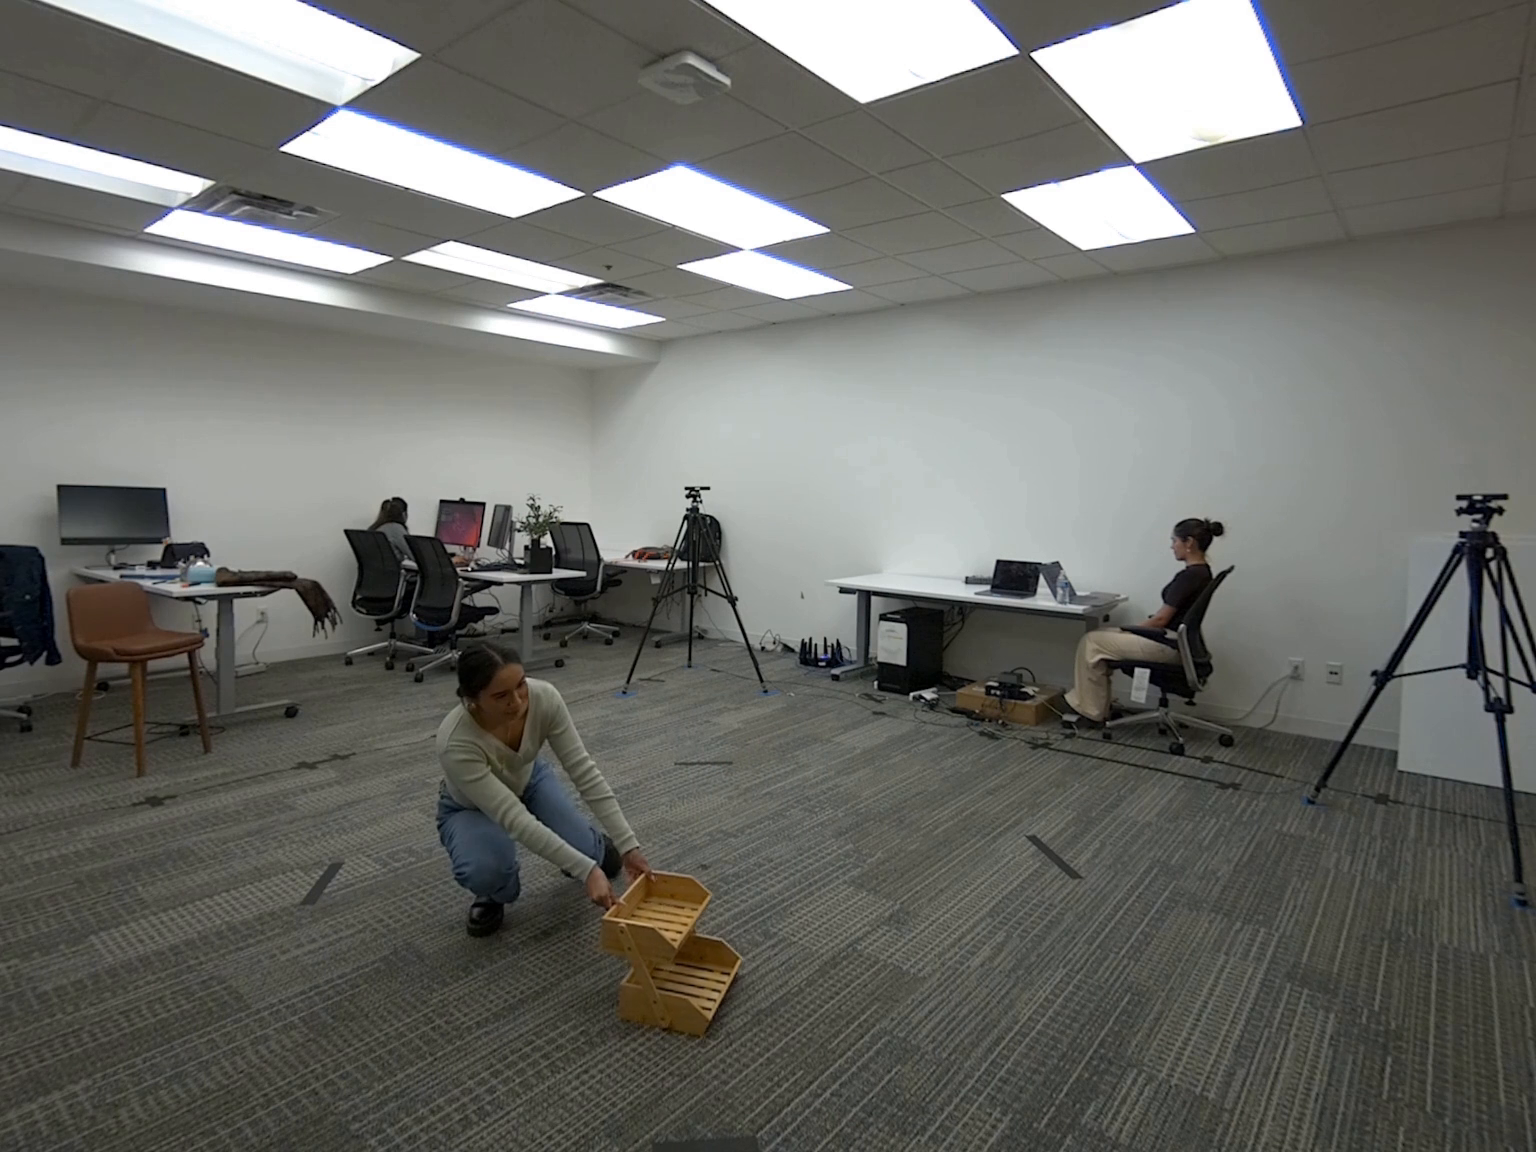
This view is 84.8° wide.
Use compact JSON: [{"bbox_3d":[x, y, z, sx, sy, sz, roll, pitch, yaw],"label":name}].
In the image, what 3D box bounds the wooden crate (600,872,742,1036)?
[{"bbox_3d":[-0.260,1.011,2.322,0.308,0.272,0.319,1,4,17],"label":"wooden crate"}]
